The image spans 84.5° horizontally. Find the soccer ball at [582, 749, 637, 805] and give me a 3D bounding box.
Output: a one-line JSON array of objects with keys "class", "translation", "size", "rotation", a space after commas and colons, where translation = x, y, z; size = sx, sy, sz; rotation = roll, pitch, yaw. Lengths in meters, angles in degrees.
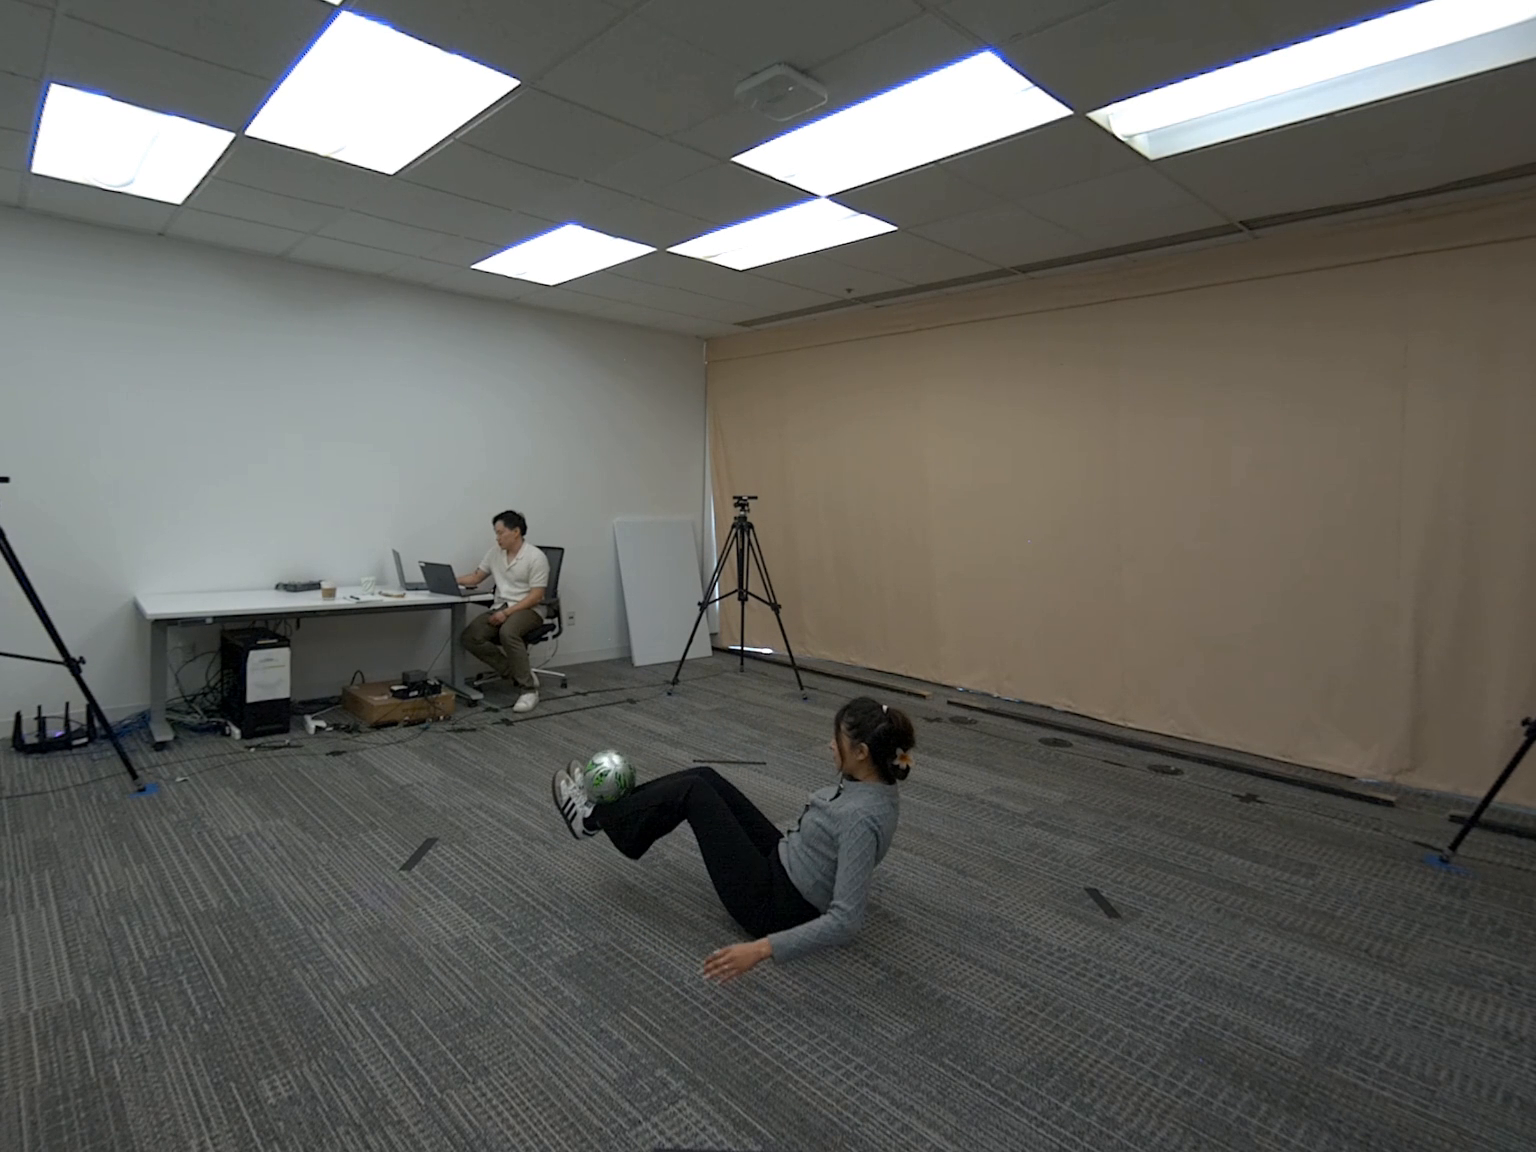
[{"class": "soccer ball", "translation": [-0.568, 0.710, 2.933], "size": [0.187, 0.187, 0.188], "rotation": [1, 4, -1]}]
